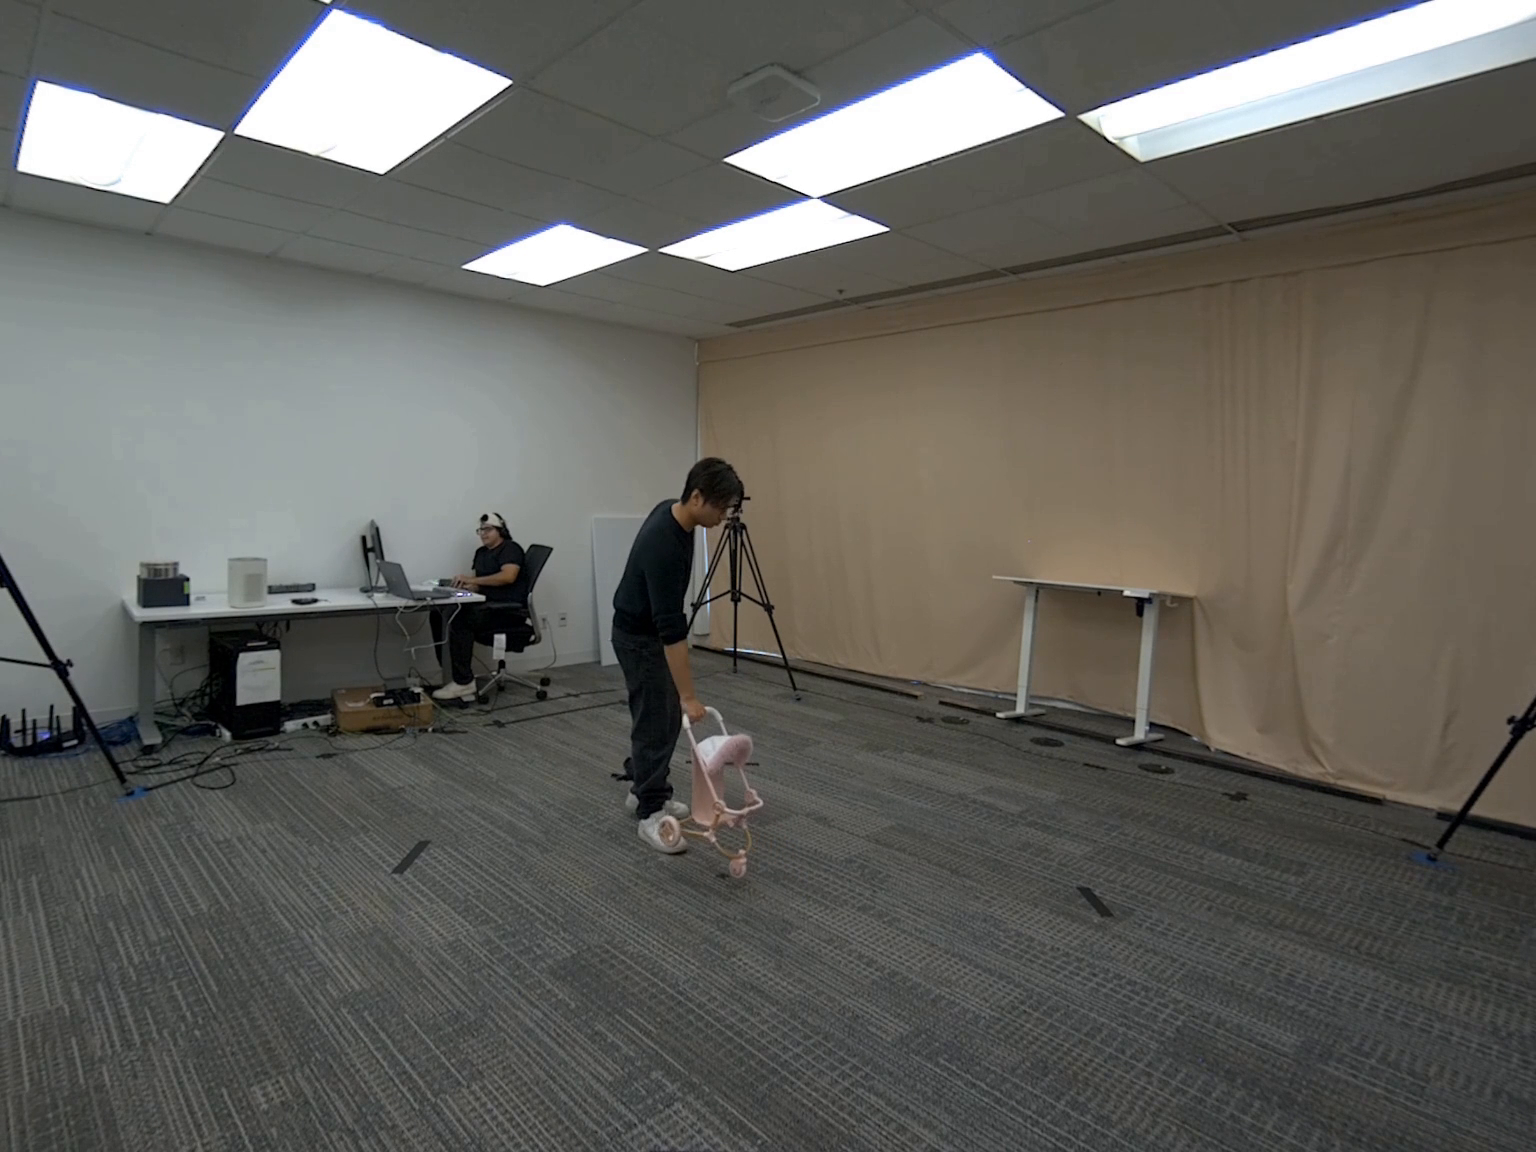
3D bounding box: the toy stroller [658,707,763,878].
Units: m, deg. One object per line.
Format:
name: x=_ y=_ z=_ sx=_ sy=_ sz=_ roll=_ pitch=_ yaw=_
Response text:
toy stroller: x=-0.186 y=0.794 z=3.068 sx=0.351 sy=0.534 sz=0.274 roll=13 pitch=5 yaw=40
